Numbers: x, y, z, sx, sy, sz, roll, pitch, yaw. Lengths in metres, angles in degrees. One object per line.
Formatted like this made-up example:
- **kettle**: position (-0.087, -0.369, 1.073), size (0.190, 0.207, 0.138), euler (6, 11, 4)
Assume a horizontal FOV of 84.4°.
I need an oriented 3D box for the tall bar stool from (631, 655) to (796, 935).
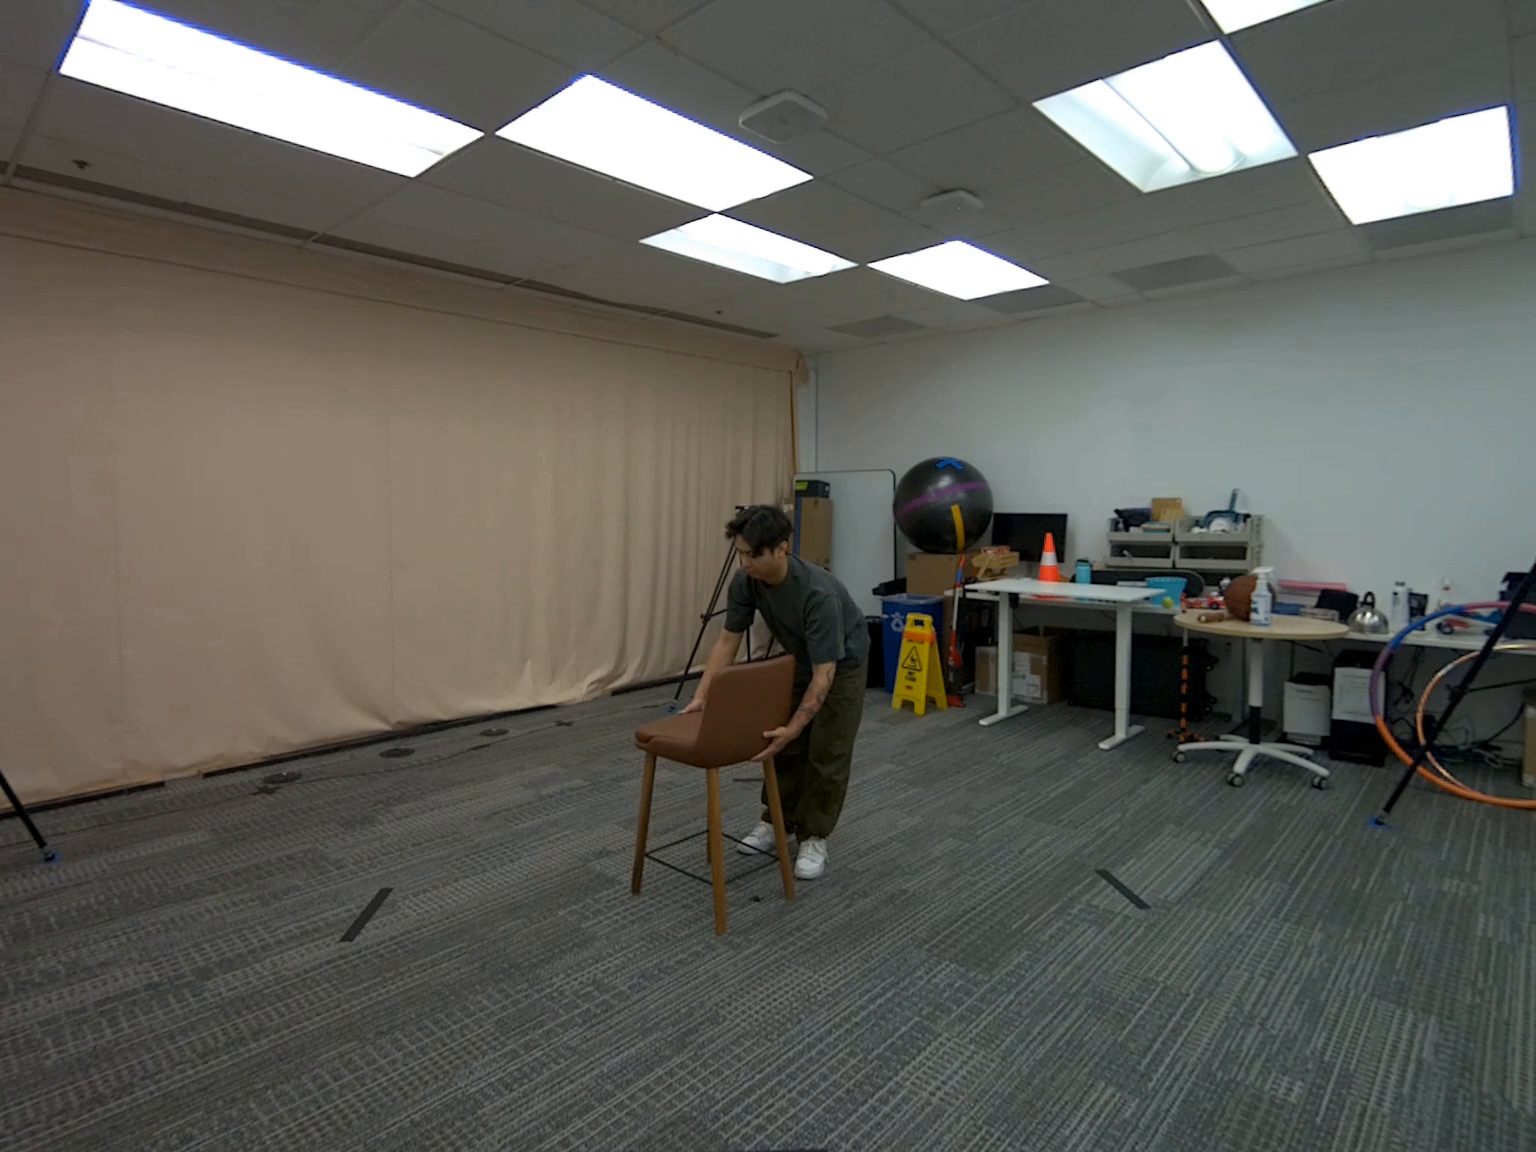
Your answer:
- **tall bar stool**: position (-0.192, 0.706, 2.989), size (0.483, 0.887, 0.442), euler (5, 6, 43)
